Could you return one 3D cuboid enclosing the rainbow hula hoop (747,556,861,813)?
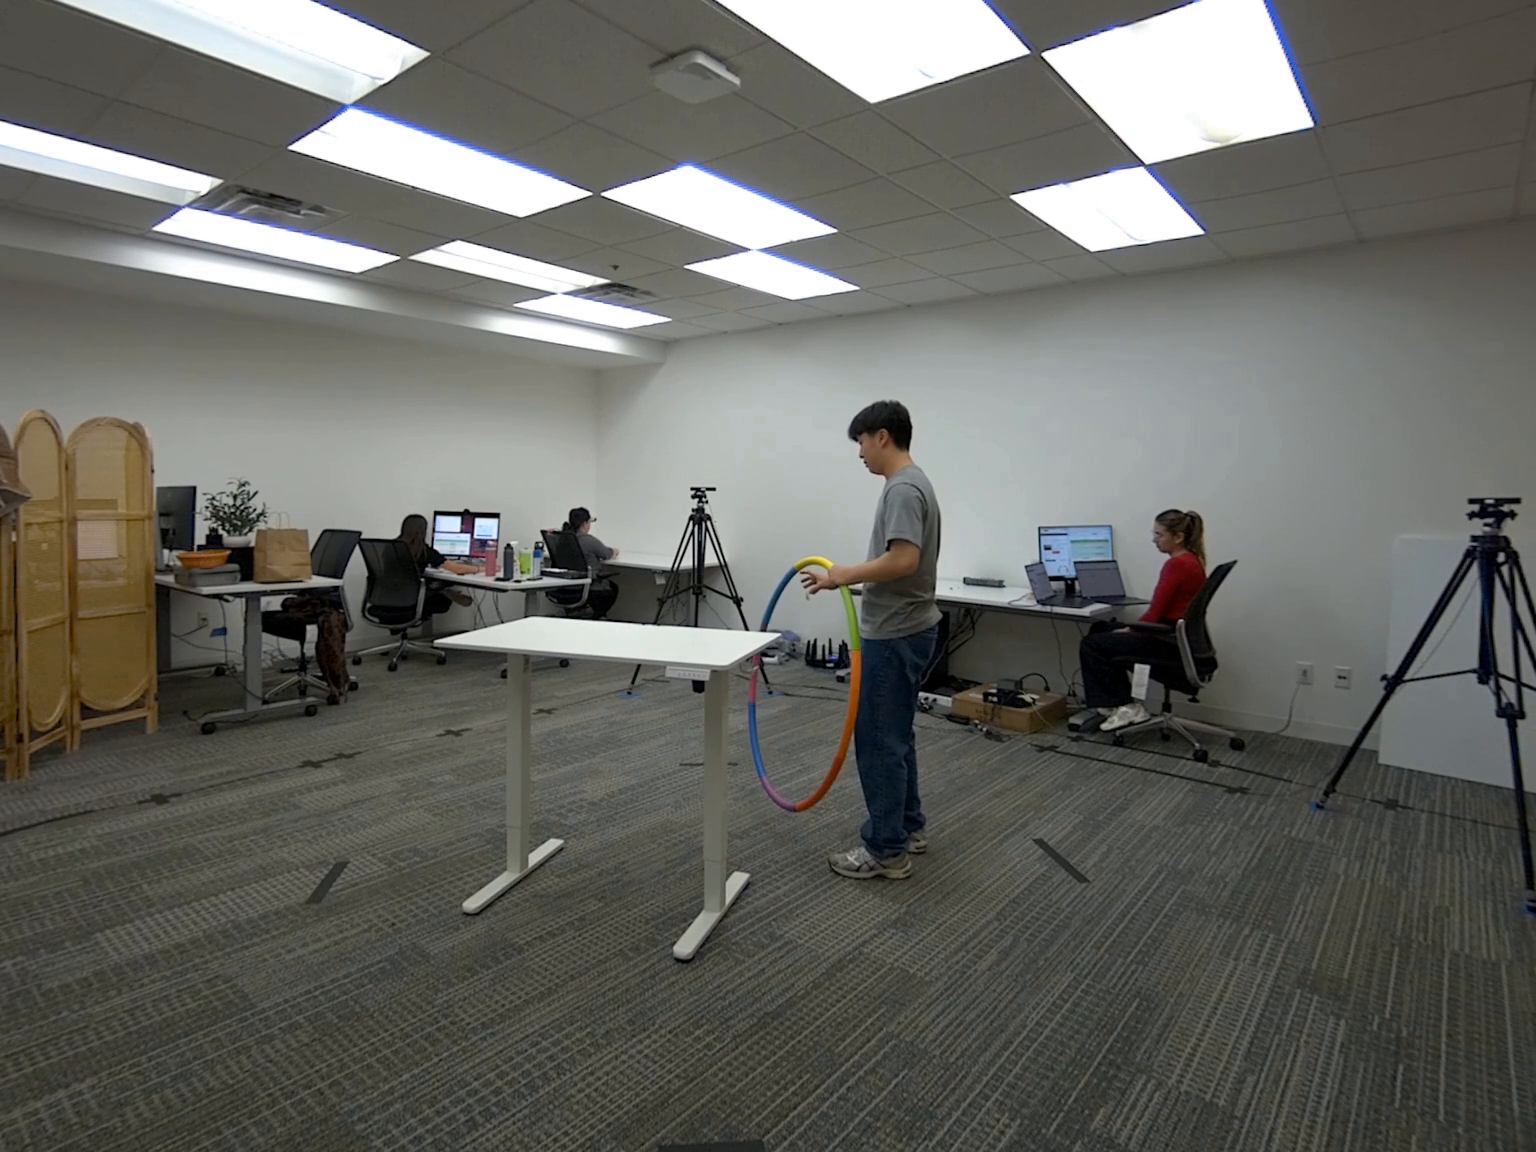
[{"bbox_3d":[0.119,0.410,3.374,0.035,0.978,1.002,9,1,-22],"label":"rainbow hula hoop"}]
